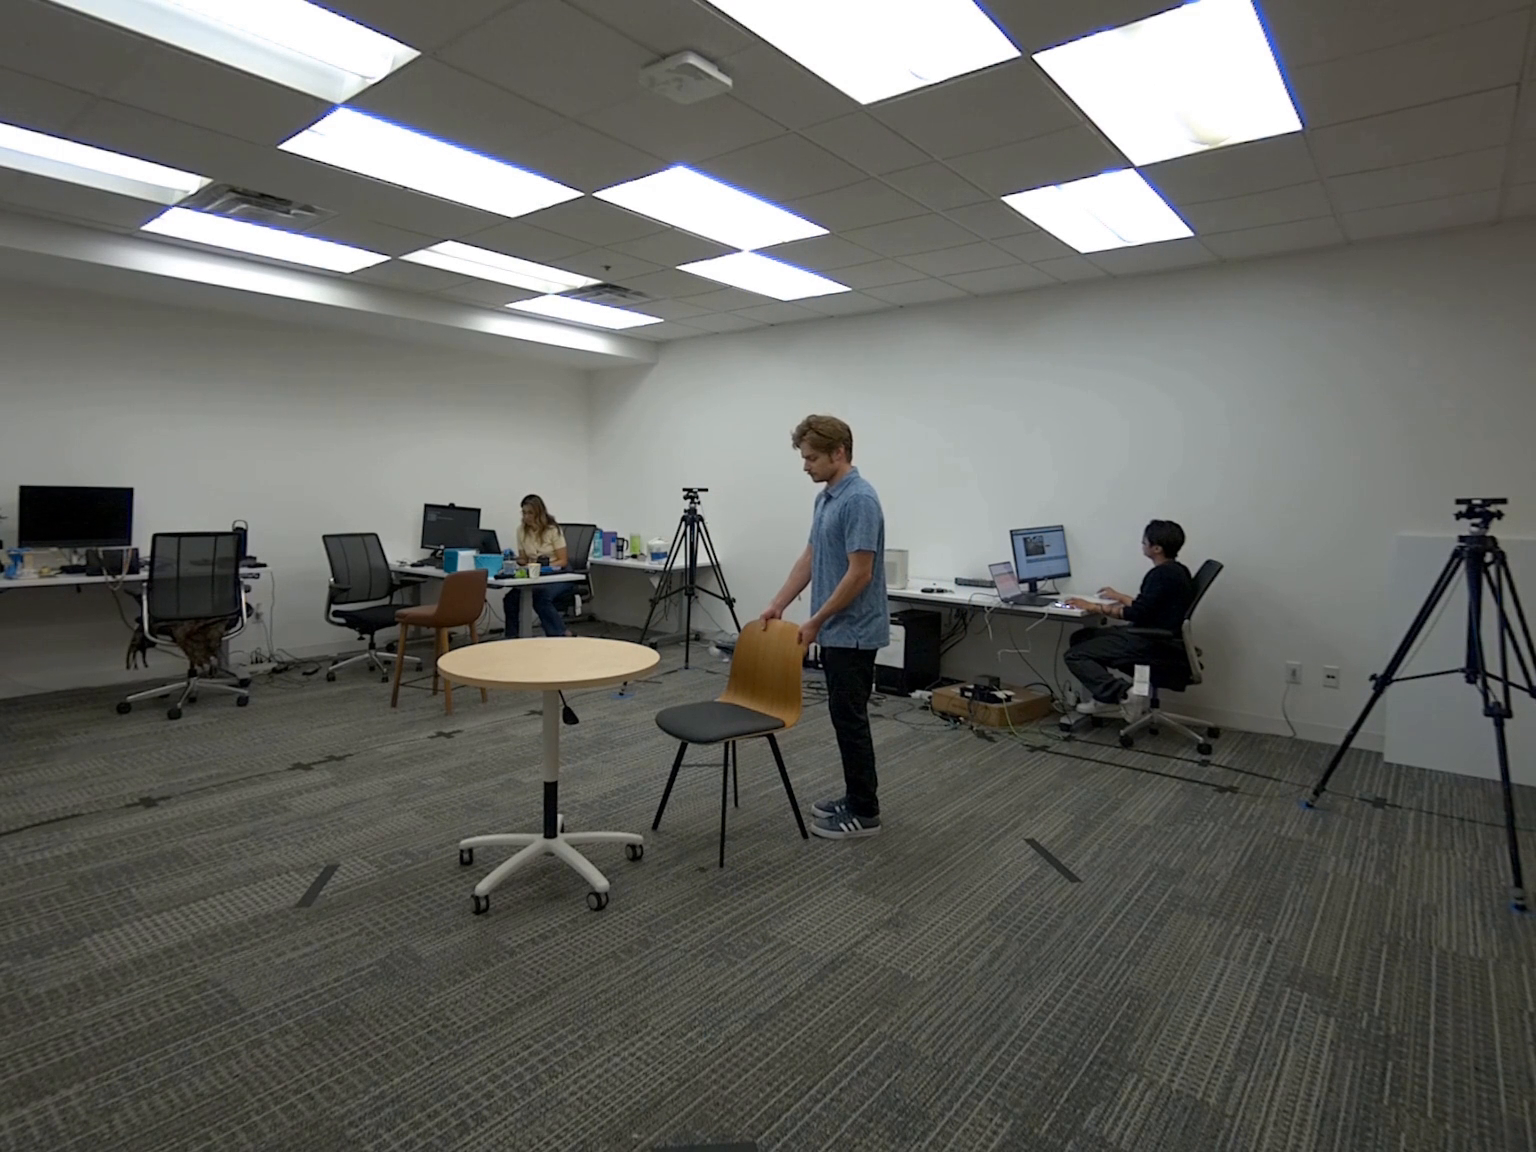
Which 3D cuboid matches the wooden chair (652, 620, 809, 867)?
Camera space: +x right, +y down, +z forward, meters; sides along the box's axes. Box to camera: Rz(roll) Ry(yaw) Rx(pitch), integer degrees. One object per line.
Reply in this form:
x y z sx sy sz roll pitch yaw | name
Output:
-0.163 0.616 3.405 0.506 0.877 0.494 4 0 -42 | wooden chair
